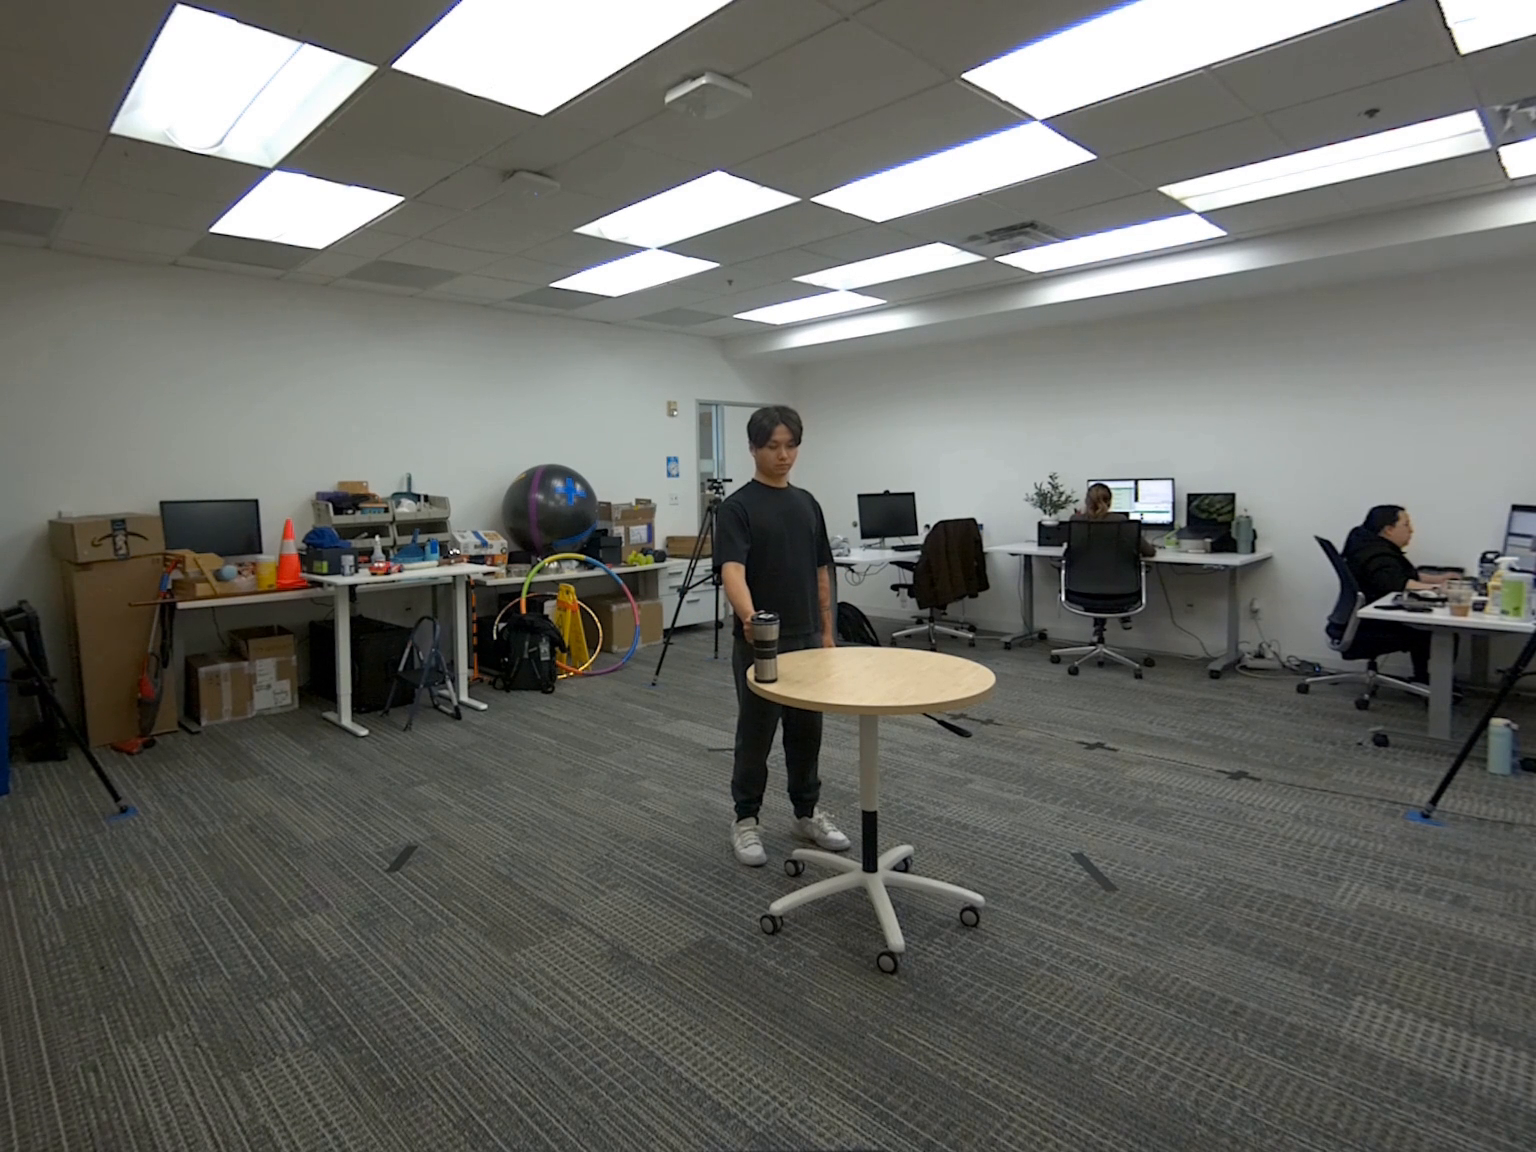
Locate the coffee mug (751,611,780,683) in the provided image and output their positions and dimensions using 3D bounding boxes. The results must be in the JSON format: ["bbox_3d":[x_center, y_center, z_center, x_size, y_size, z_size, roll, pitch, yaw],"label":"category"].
[{"bbox_3d":[0.007,0.221,2.612,0.090,0.202,0.119,-1,6,42],"label":"coffee mug"}]
